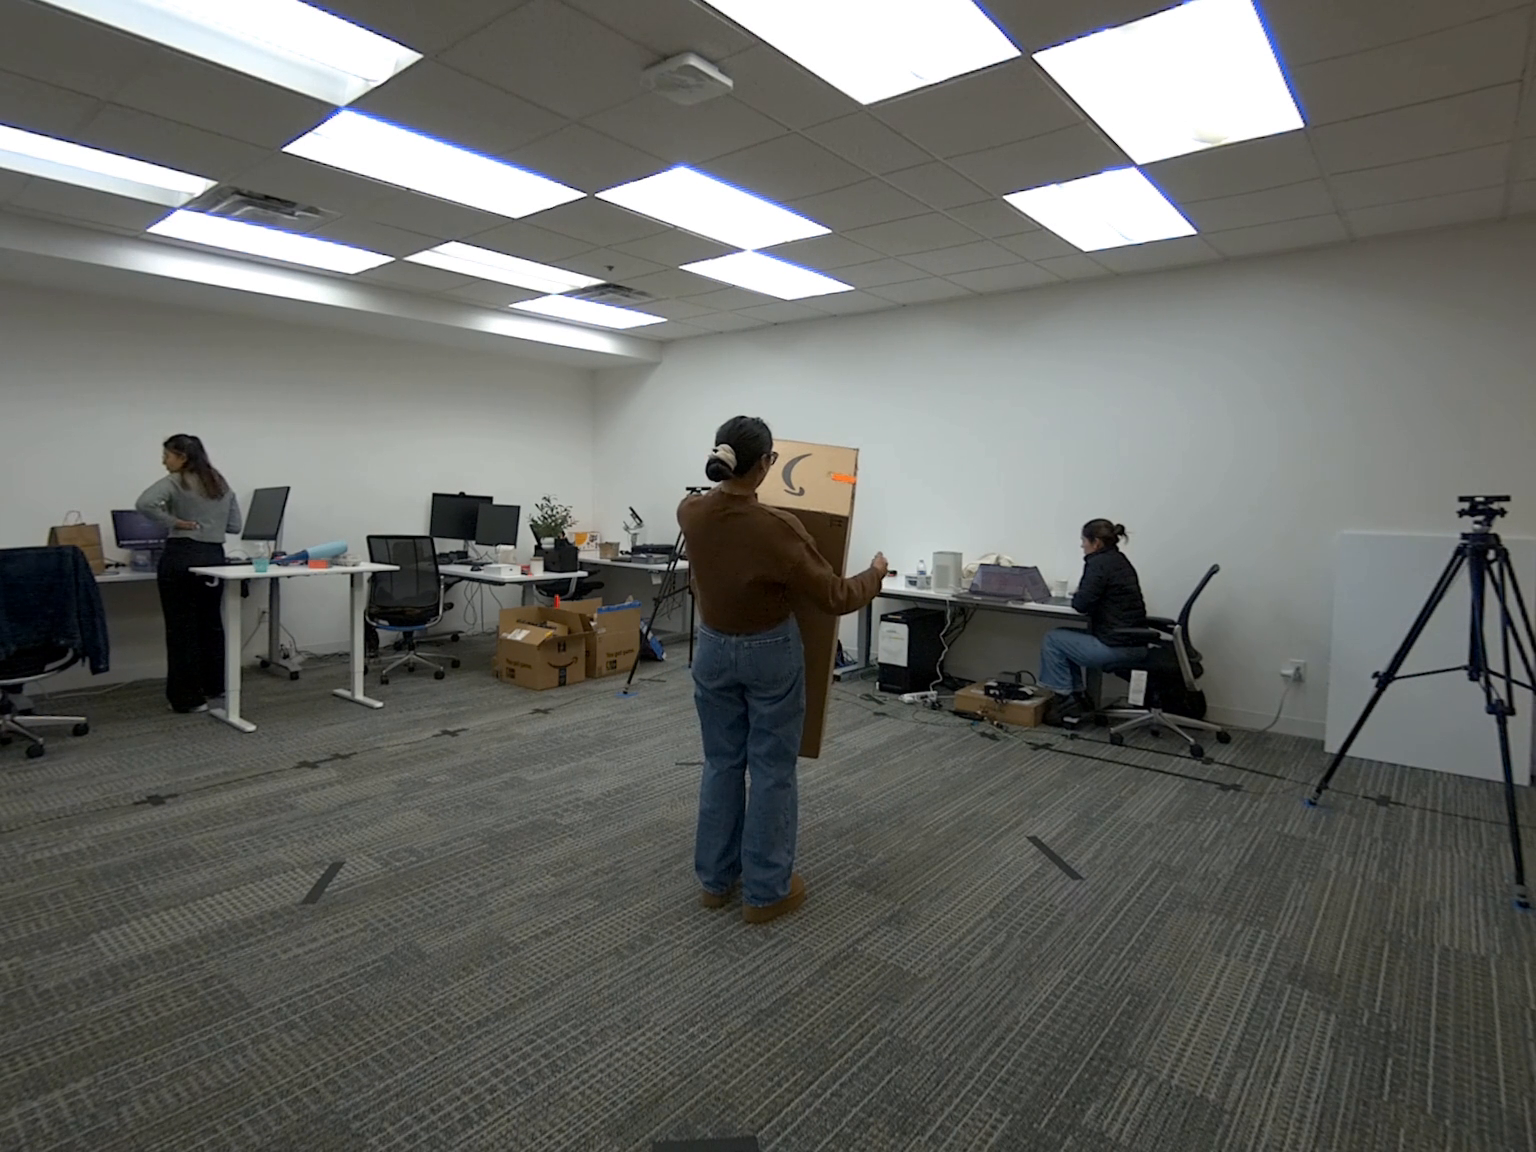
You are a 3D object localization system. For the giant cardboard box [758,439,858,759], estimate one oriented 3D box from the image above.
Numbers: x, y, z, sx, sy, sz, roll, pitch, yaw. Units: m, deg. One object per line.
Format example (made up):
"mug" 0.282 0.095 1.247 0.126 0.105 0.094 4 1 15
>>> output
"giant cardboard box" 0.049 0.075 3.207 0.431 1.003 0.585 8 29 7
